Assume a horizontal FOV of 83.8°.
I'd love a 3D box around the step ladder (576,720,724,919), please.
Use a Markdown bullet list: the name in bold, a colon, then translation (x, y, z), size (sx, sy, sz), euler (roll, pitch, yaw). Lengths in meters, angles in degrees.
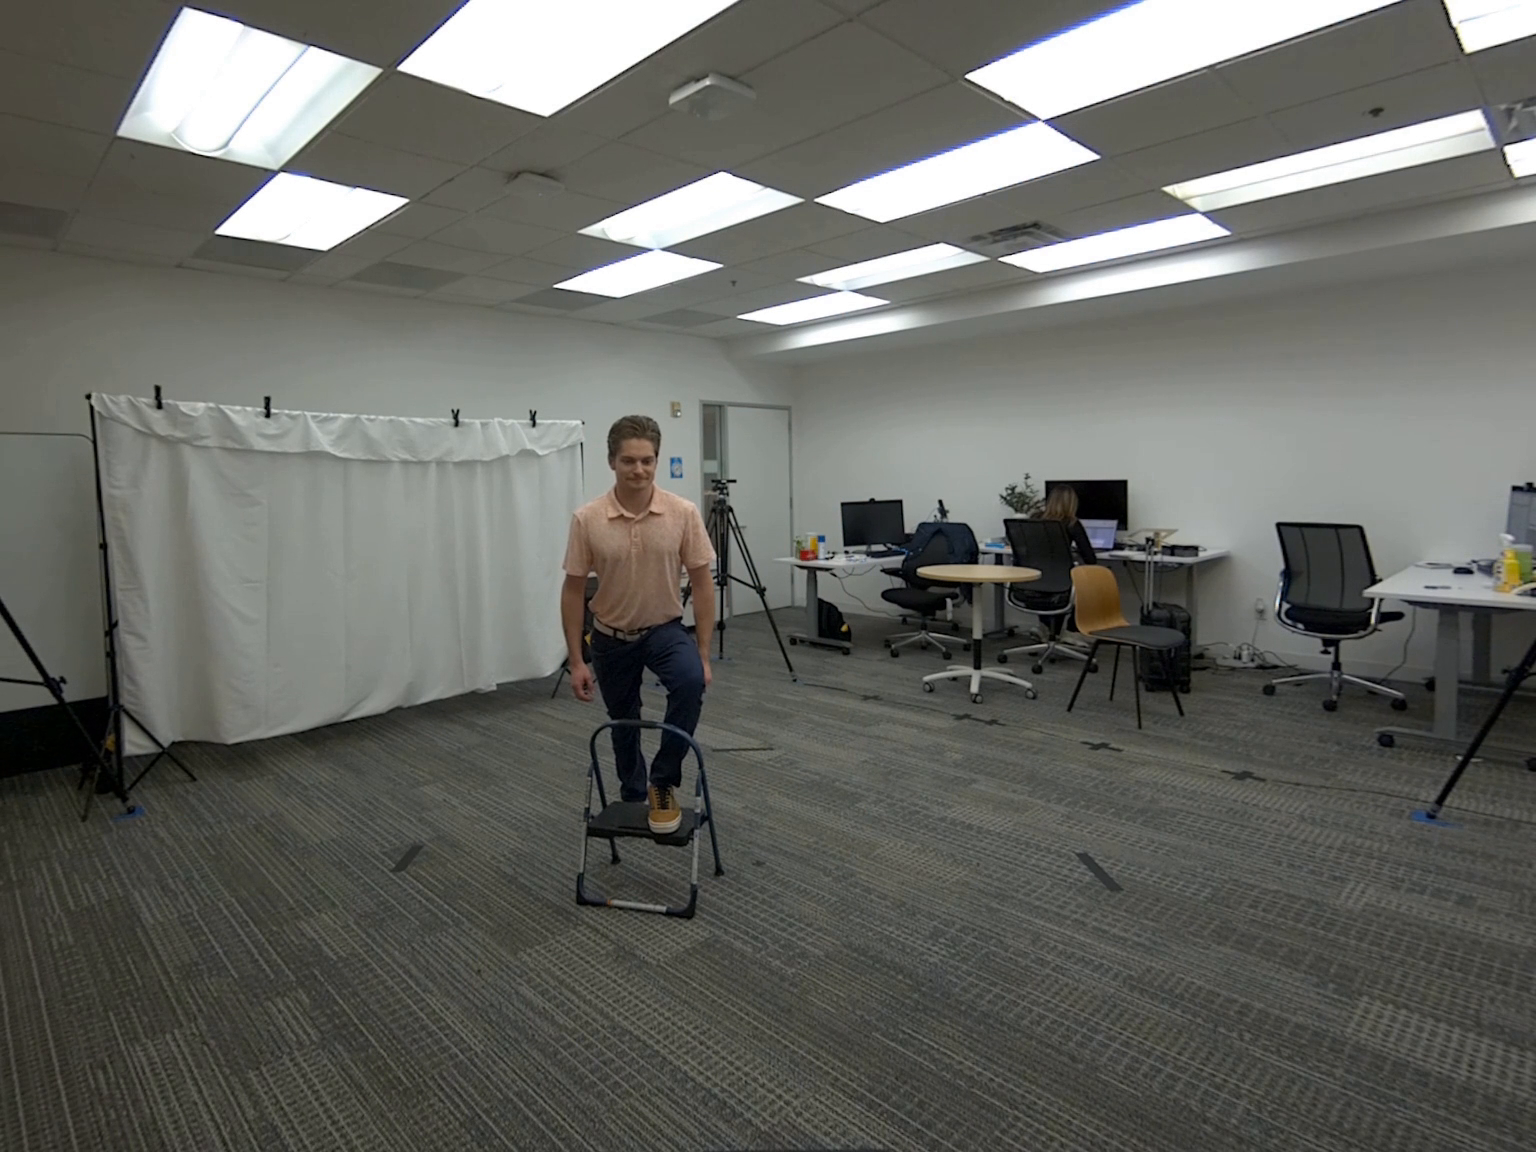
- **step ladder**: translation (-0.404, 0.773, 2.921), size (0.437, 0.604, 0.346), euler (0, 4, 14)
